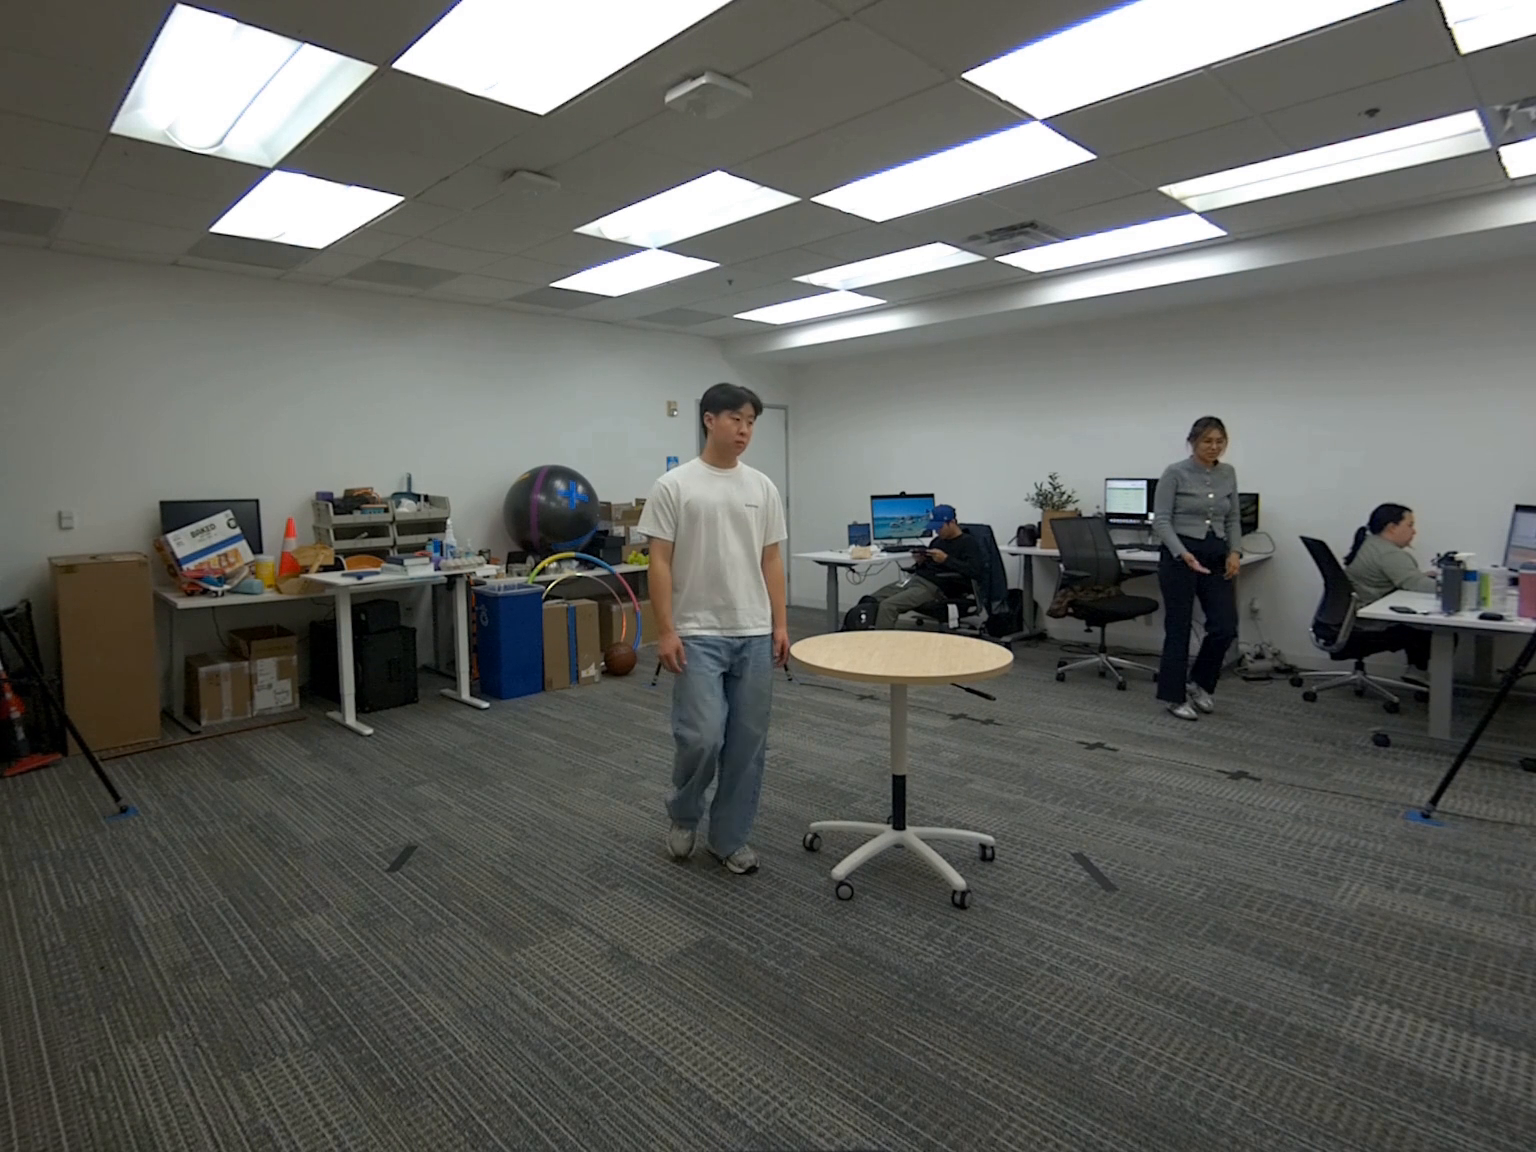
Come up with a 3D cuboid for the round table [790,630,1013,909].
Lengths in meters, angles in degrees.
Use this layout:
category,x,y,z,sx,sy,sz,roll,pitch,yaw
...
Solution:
category,x,y,z,sx,sy,sz,roll,pitch,yaw
round table,0.467,0.649,3.021,0.784,0.783,0.789,-1,5,-2
